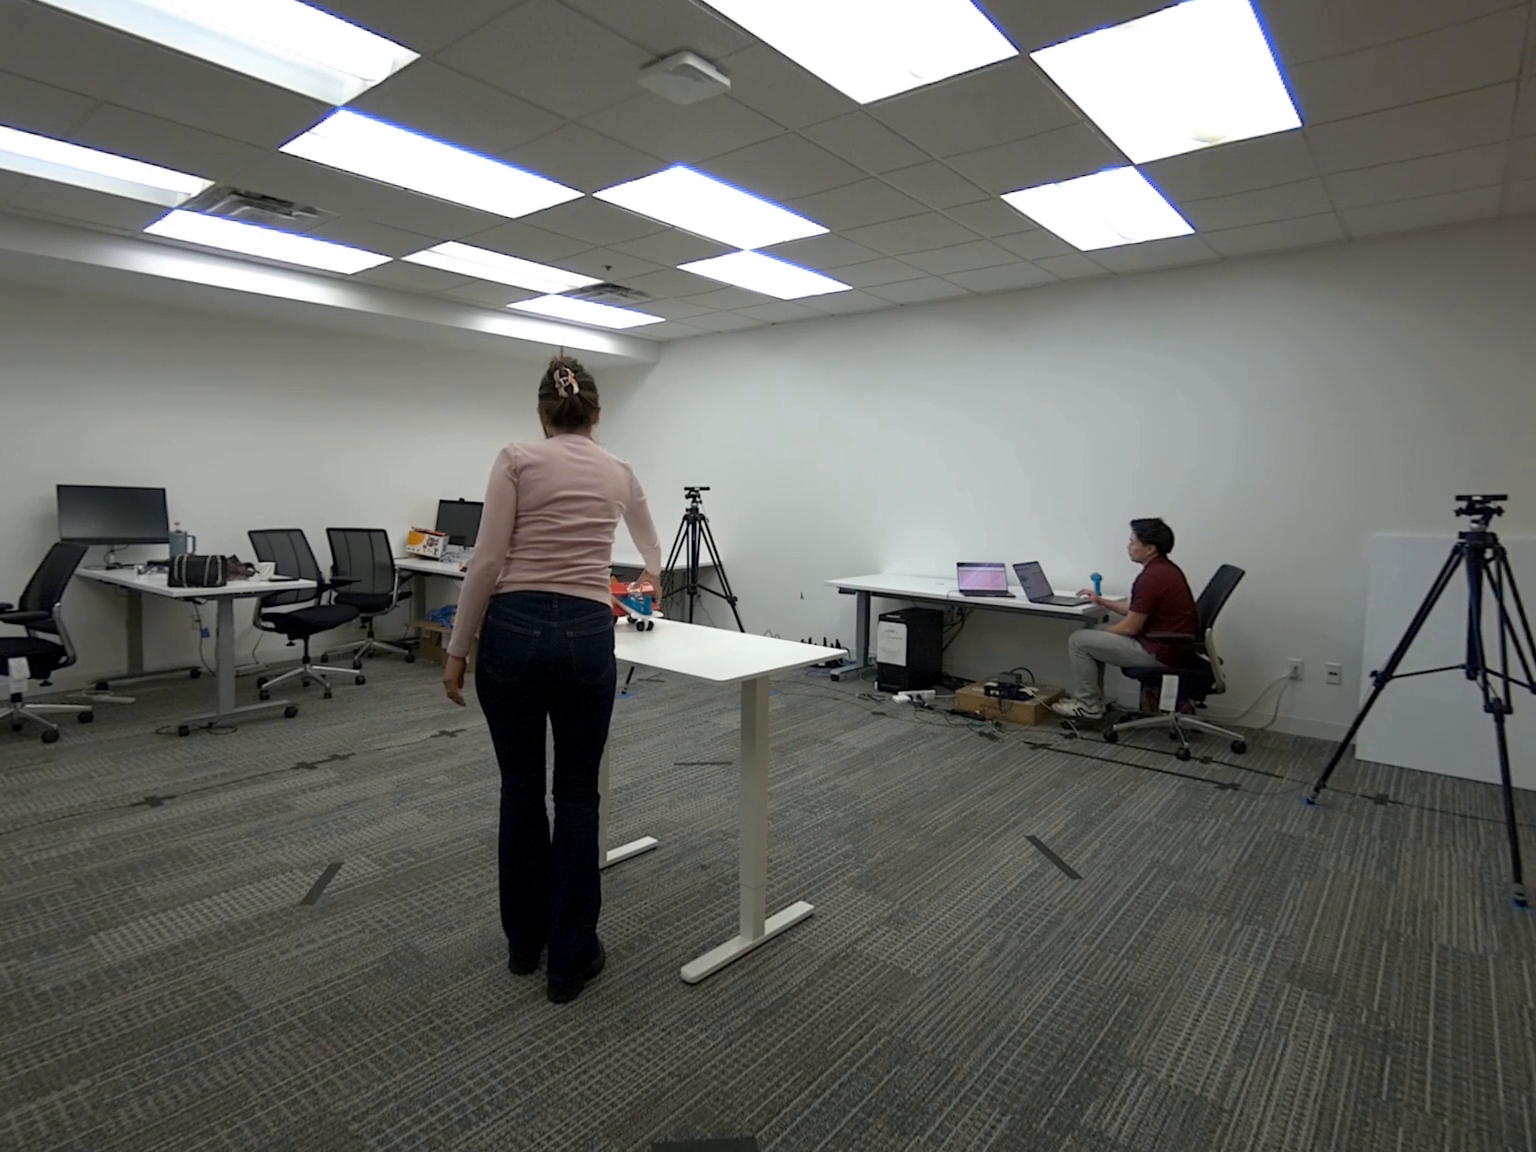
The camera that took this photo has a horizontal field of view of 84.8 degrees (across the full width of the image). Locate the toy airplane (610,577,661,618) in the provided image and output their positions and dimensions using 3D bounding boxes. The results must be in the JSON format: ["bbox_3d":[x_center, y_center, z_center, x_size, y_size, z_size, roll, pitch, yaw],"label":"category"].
[{"bbox_3d":[-0.492,0.099,3.102,0.266,0.156,0.245,3,6,27],"label":"toy airplane"}]
